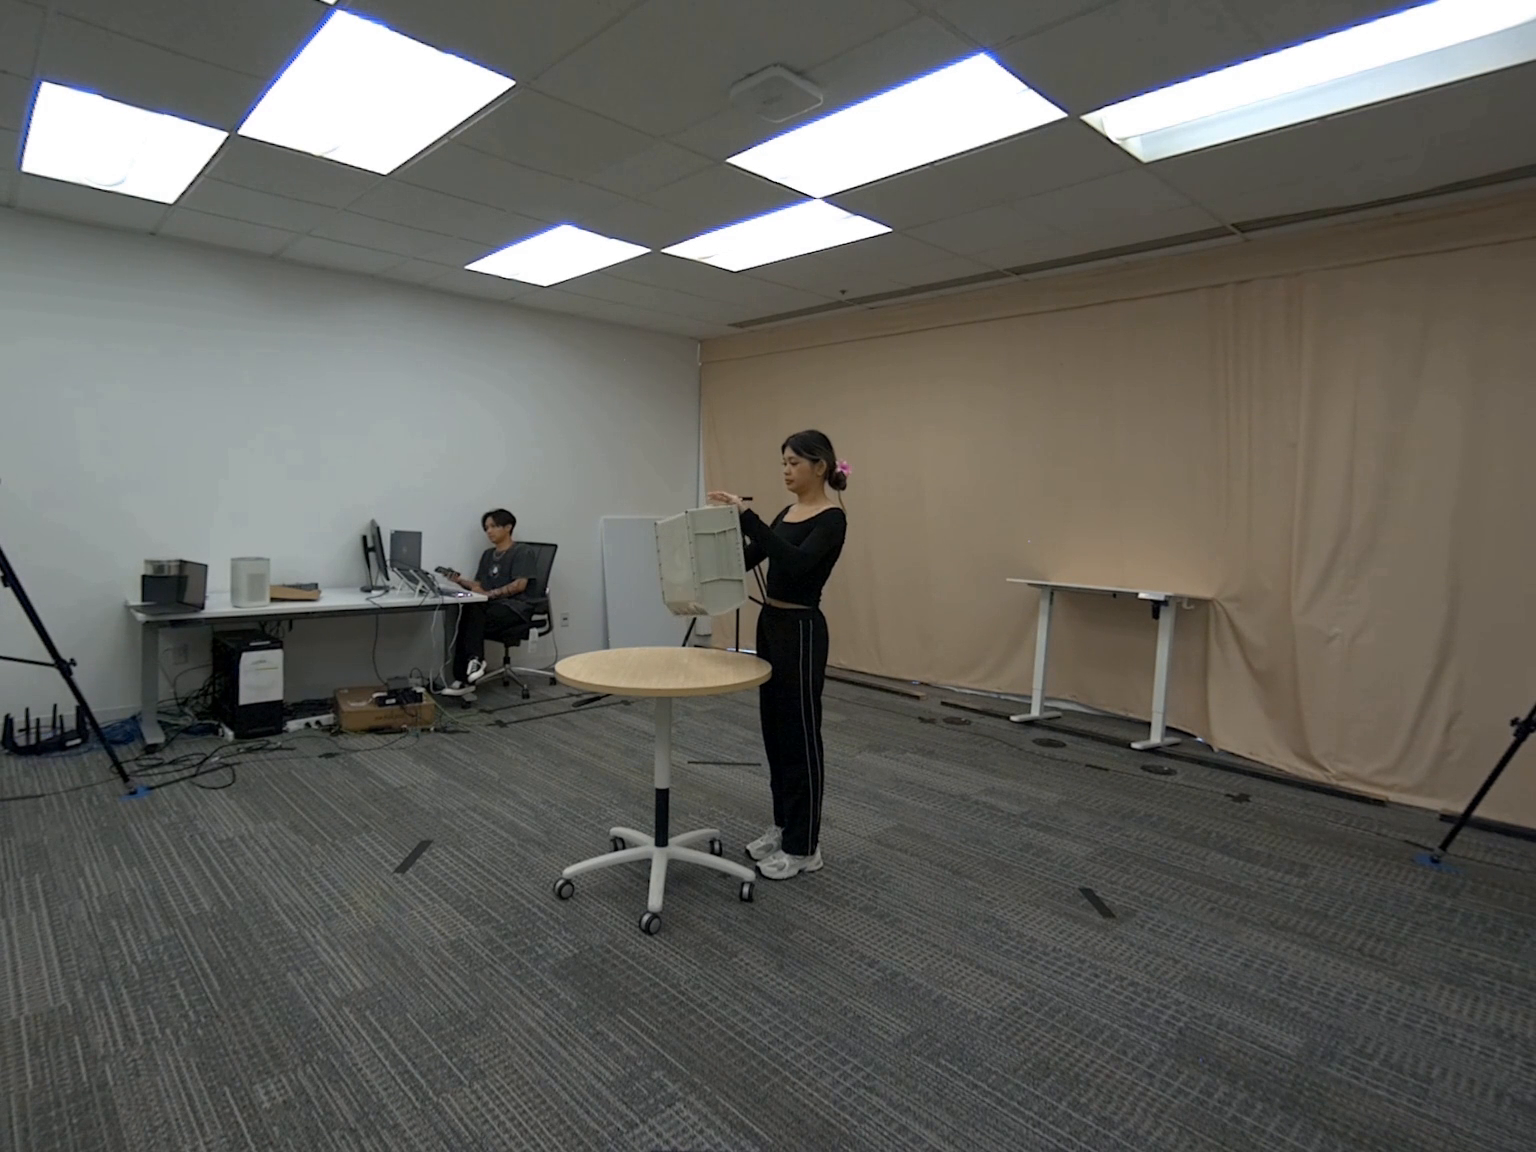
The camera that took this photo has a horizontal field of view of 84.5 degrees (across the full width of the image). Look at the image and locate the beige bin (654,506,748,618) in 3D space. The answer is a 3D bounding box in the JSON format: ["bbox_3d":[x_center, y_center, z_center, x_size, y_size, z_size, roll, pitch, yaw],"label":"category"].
[{"bbox_3d":[-0.248,-0.045,3.020,0.186,0.377,0.428,-8,0,-22],"label":"beige bin"}]
